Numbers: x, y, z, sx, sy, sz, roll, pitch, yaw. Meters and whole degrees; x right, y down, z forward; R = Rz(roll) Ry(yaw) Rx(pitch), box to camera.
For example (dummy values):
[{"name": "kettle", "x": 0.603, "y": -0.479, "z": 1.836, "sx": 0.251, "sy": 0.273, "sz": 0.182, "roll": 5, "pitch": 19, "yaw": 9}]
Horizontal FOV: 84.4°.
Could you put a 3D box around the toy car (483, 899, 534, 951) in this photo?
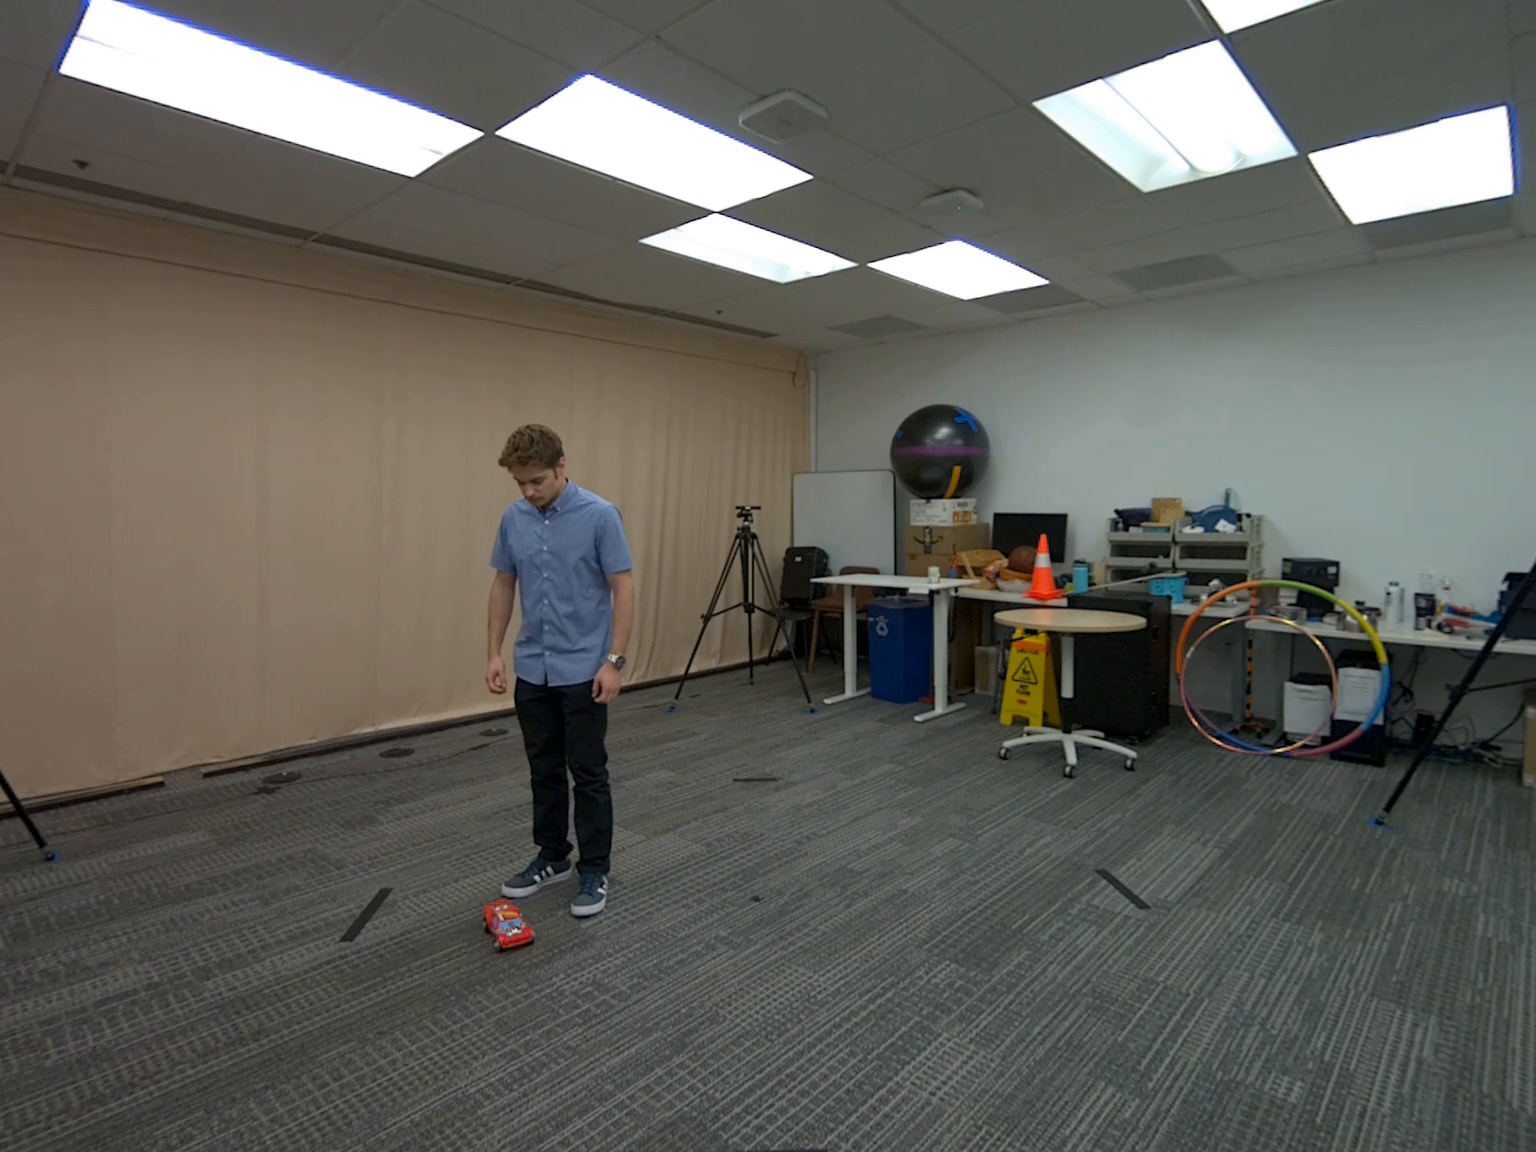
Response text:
[{"name": "toy car", "x": -0.858, "y": 1.142, "z": 2.744, "sx": 0.127, "sy": 0.082, "sz": 0.263, "roll": -4, "pitch": 16, "yaw": -30}]
